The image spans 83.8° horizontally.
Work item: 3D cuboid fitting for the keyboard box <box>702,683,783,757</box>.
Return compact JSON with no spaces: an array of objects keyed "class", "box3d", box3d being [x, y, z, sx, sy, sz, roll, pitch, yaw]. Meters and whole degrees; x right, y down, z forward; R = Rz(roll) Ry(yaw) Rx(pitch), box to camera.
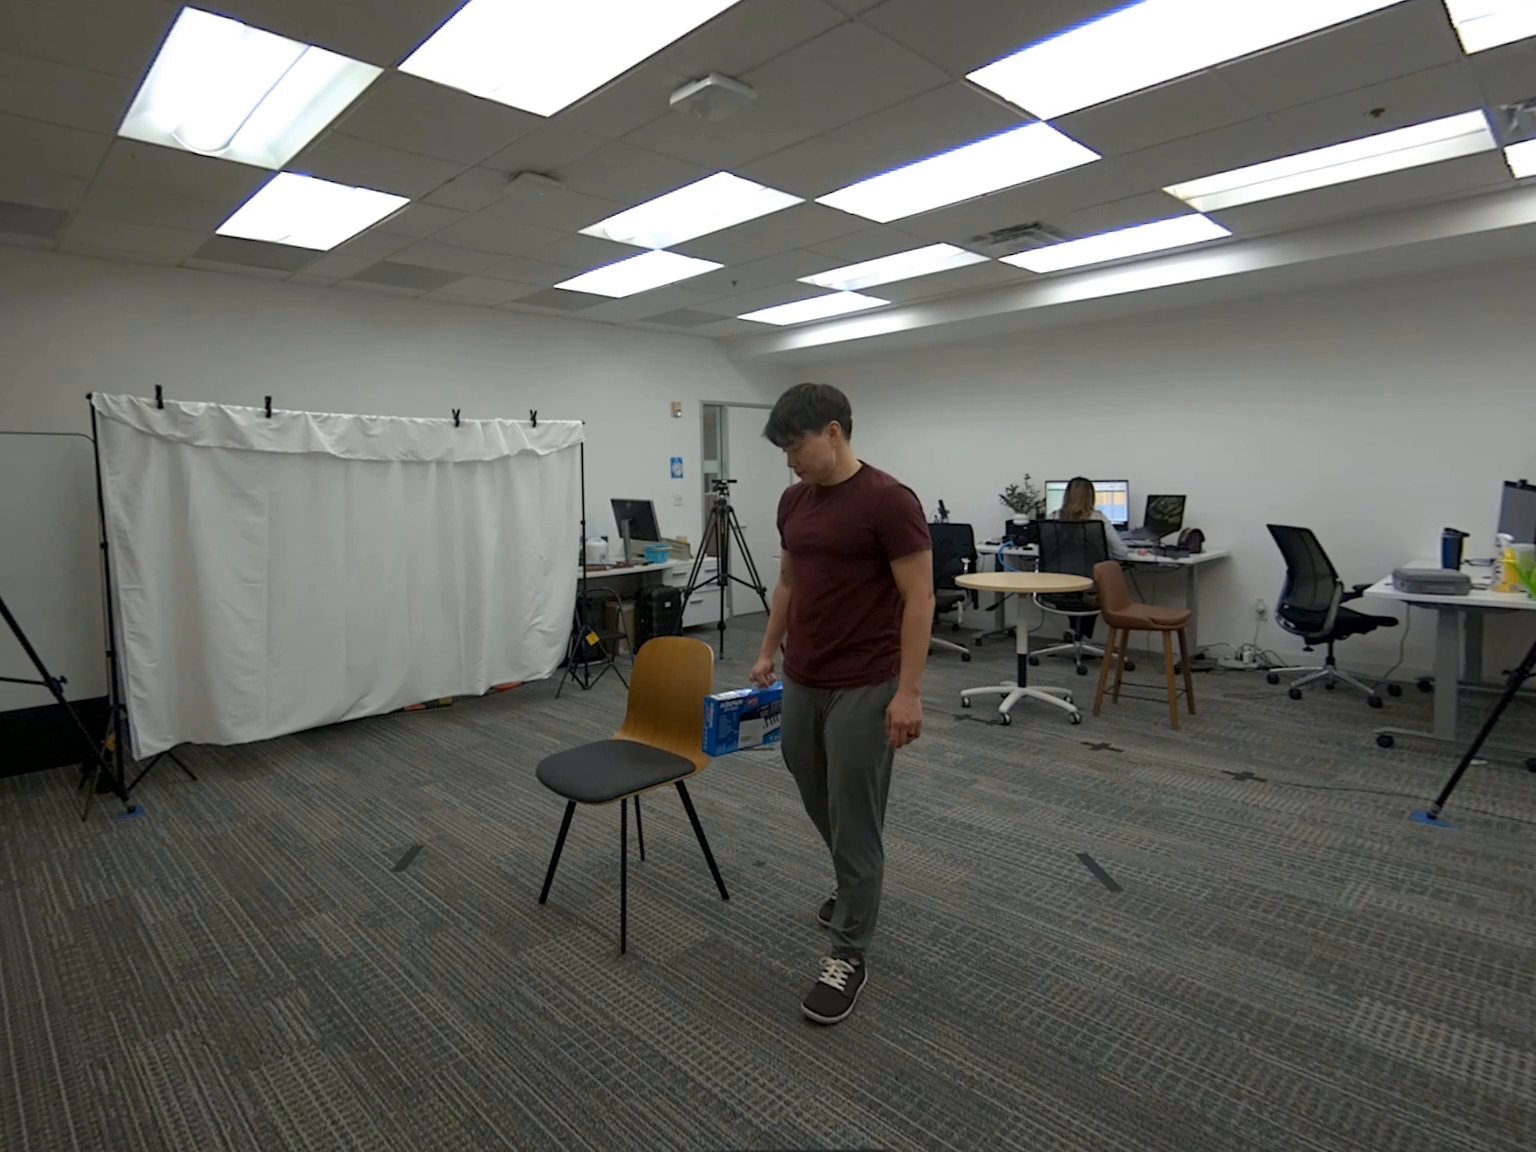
[{"class":"keyboard box","box3d":[-0.009,0.434,2.649,0.425,0.175,0.061,-4,8,-42]}]
